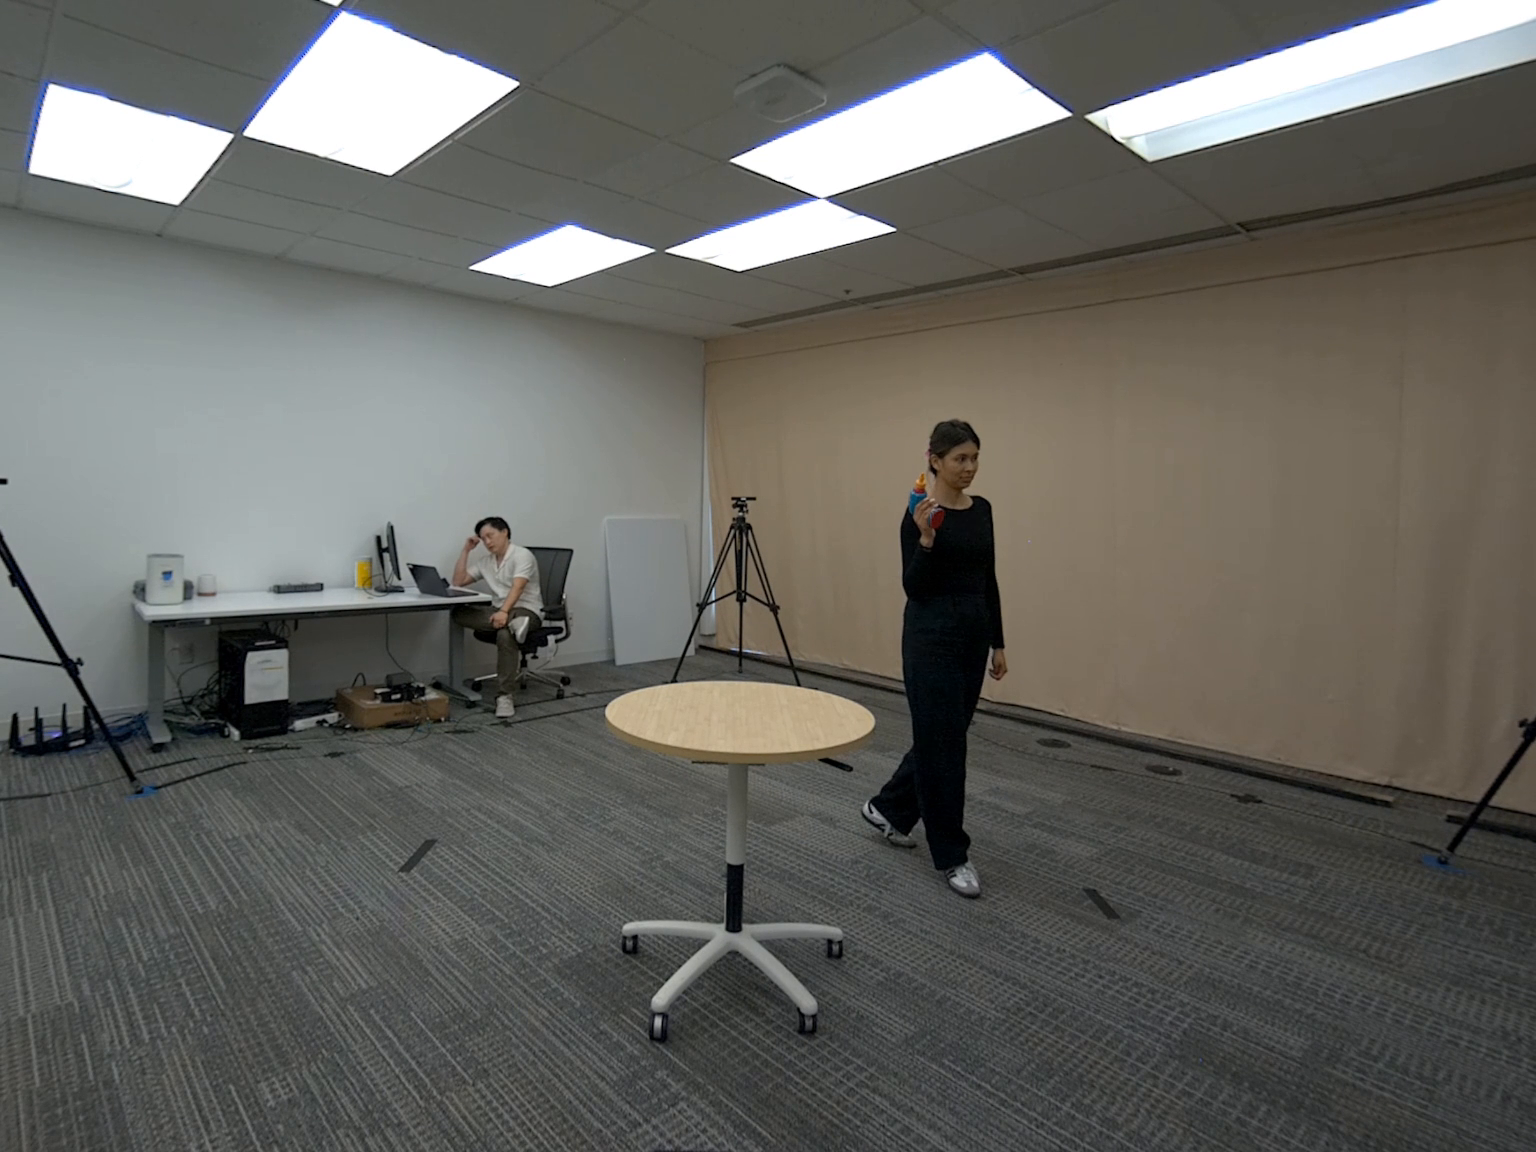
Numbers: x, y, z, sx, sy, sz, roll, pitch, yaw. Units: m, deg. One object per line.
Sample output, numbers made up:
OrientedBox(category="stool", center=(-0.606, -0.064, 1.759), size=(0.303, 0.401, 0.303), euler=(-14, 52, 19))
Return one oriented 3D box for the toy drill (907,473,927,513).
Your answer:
OrientedBox(category="toy drill", center=(0.528, -0.257, 2.858), size=(0.060, 0.167, 0.151), euler=(-10, 38, -23))
